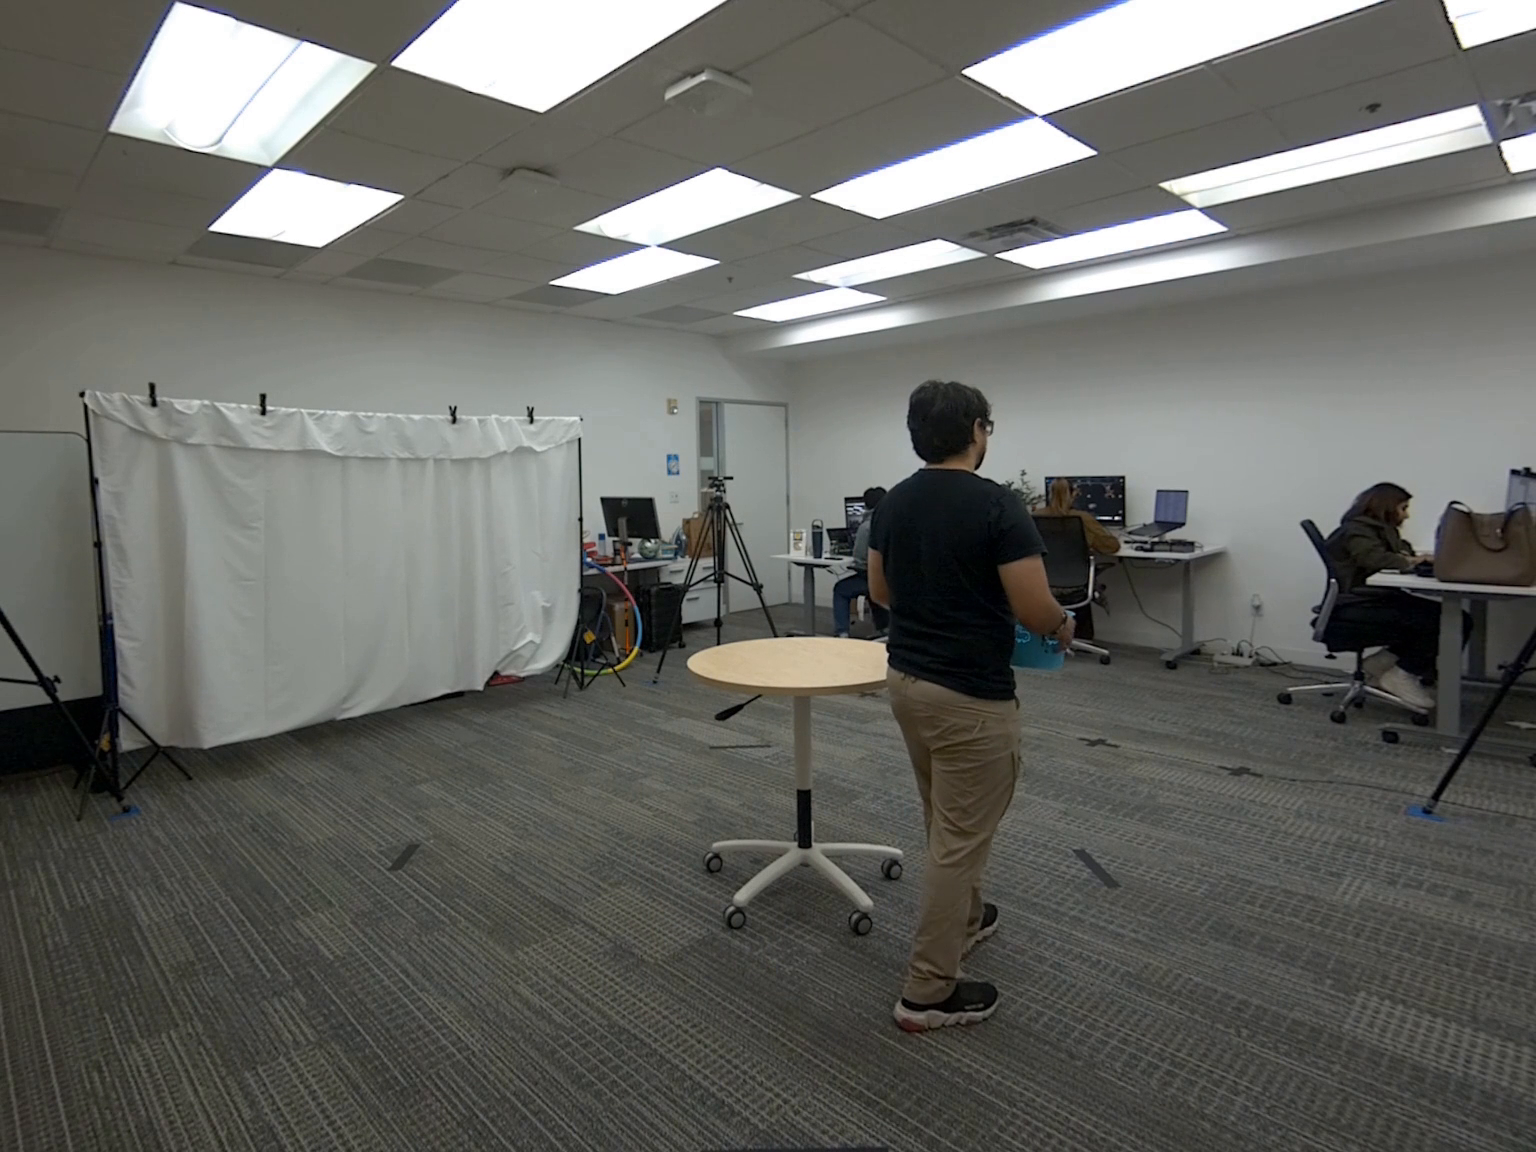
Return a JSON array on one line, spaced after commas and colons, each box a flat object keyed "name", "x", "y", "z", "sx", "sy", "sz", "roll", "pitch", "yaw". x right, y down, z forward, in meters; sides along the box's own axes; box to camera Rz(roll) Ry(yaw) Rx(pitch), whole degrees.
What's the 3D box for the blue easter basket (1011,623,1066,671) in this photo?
[{"name": "blue easter basket", "x": 0.775, "y": 0.174, "z": 2.420, "sx": 0.243, "sy": 0.155, "sz": 0.245, "roll": 2, "pitch": 6, "yaw": -2}]
